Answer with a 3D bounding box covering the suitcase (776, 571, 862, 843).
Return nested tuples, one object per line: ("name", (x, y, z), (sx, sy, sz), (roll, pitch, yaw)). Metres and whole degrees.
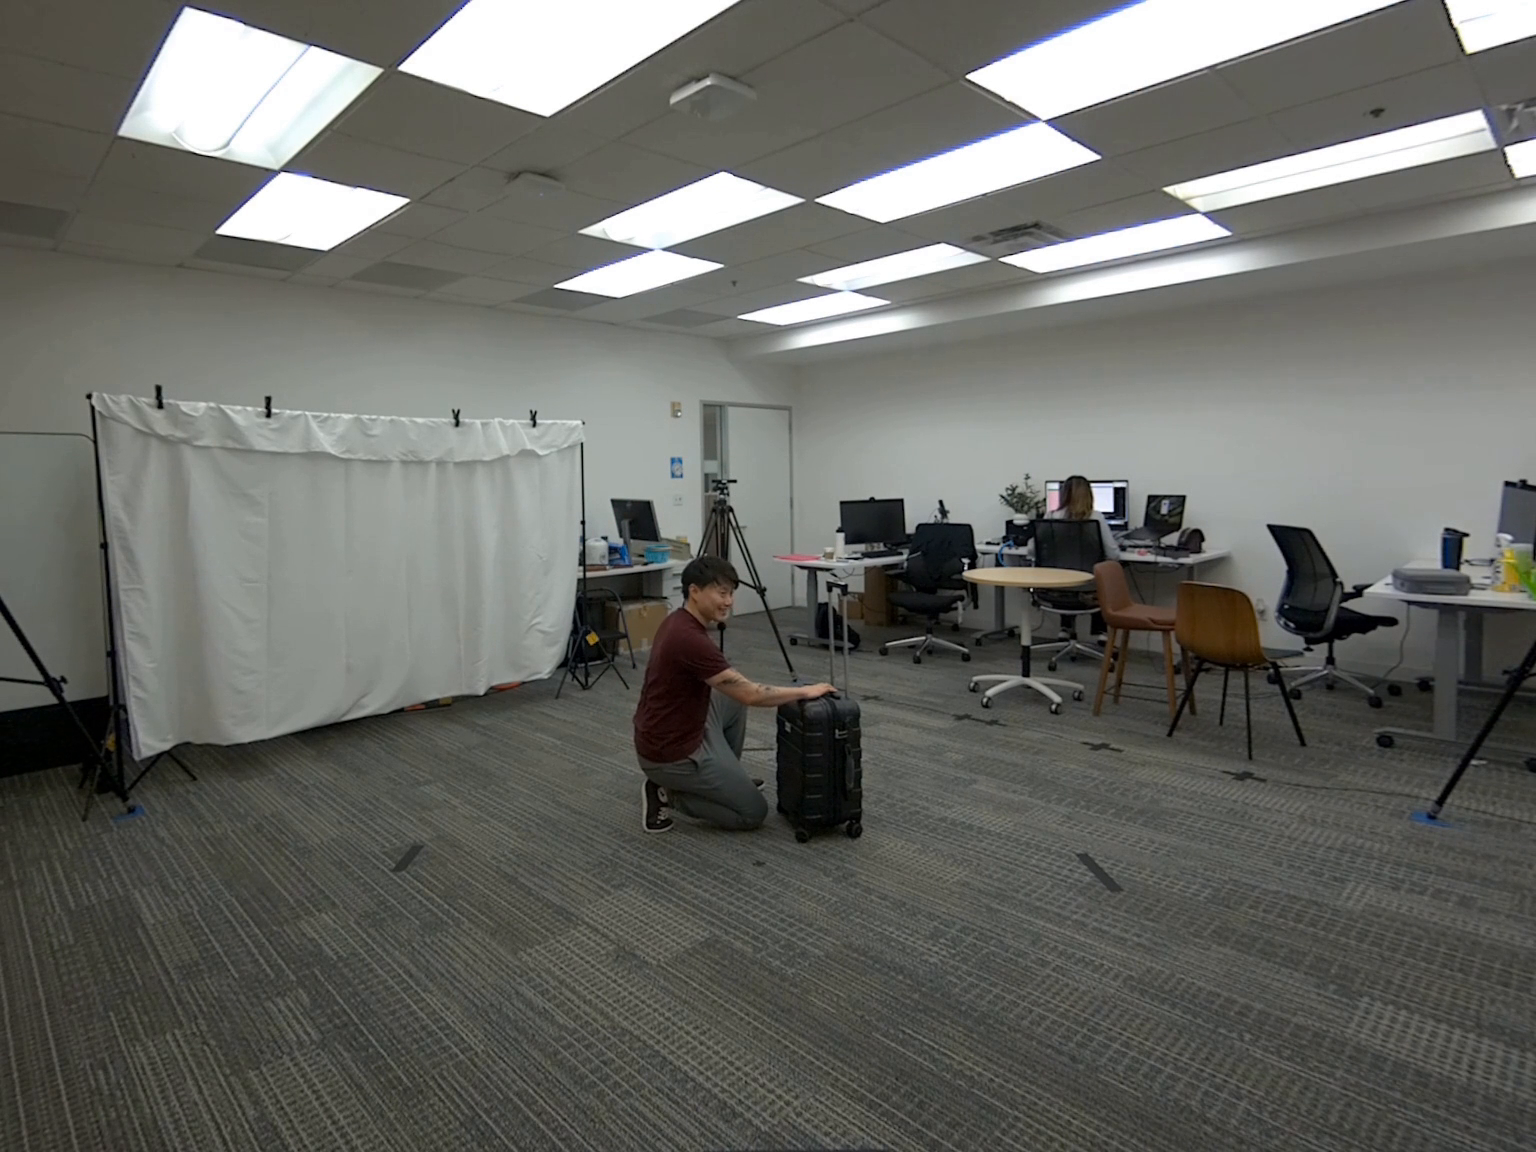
("suitcase", (0.194, 0.525, 3.424), (0.253, 0.976, 0.390), (-3, 3, -16))
